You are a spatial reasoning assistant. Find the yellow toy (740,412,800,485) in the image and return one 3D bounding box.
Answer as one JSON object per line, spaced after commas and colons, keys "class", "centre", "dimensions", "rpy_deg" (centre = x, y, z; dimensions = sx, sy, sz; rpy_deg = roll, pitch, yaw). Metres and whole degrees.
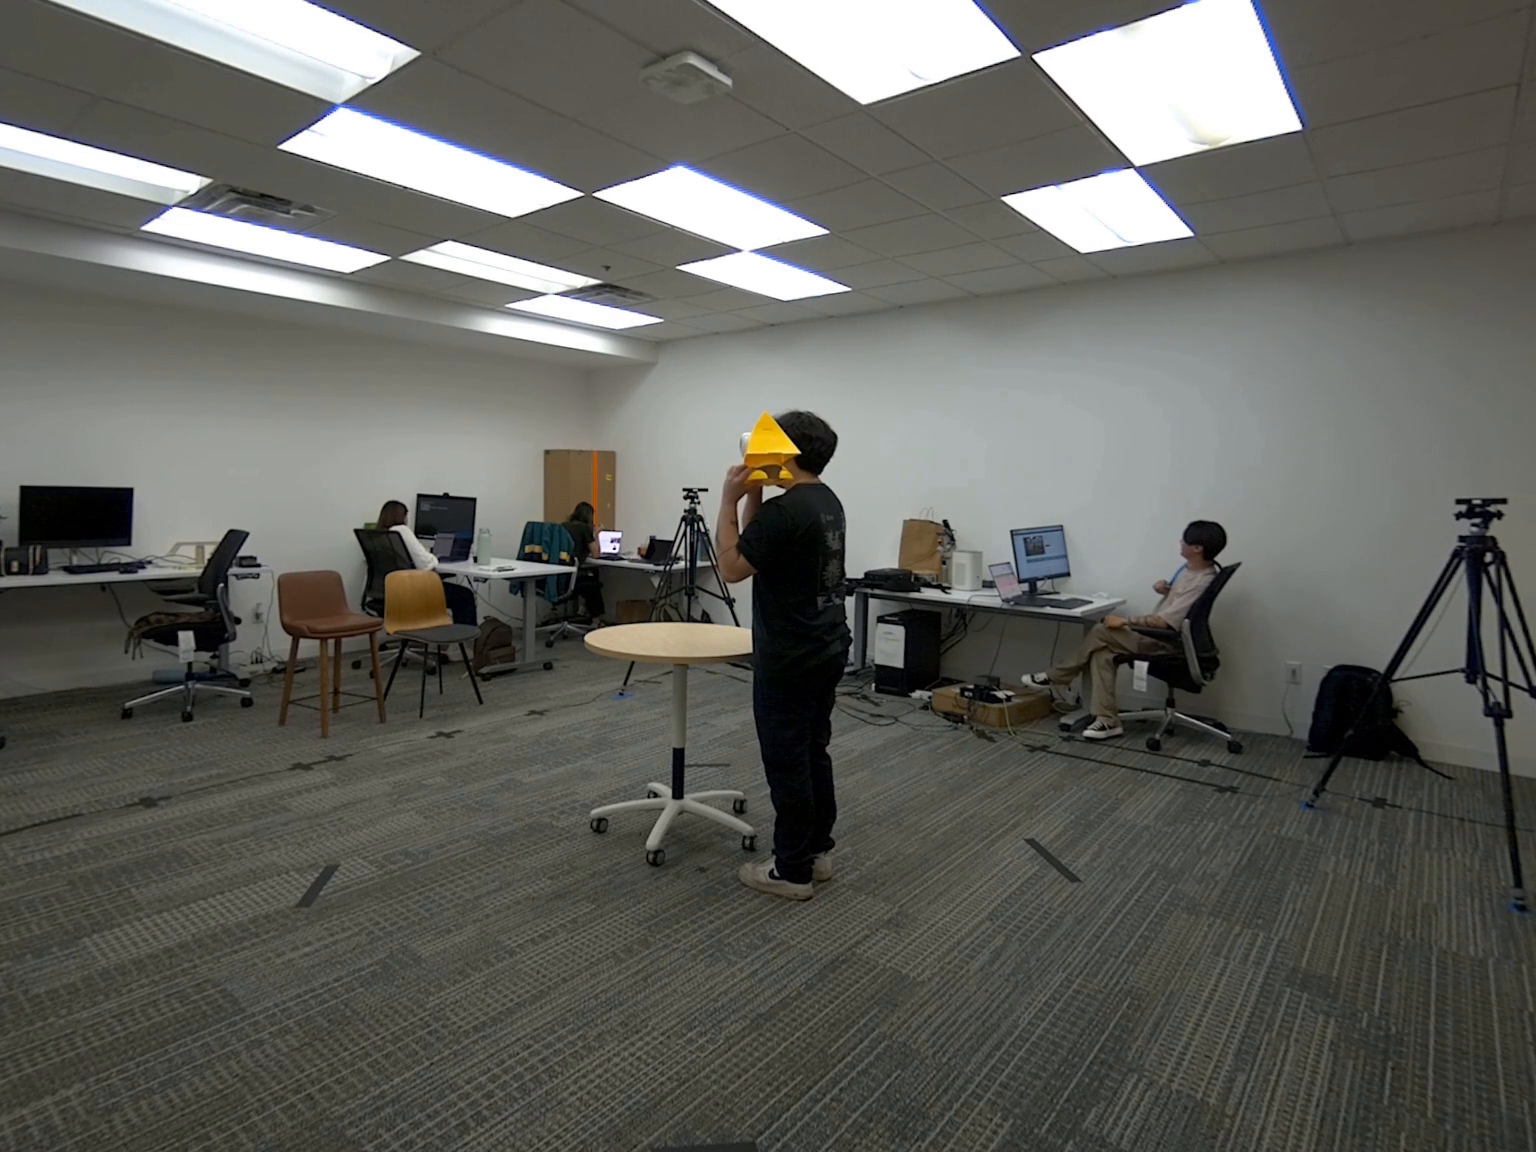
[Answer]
{"class": "yellow toy", "centre": [-0.039, -0.432, 2.876], "dimensions": [0.200, 0.232, 0.196], "rpy_deg": [-5, -6, -28]}
